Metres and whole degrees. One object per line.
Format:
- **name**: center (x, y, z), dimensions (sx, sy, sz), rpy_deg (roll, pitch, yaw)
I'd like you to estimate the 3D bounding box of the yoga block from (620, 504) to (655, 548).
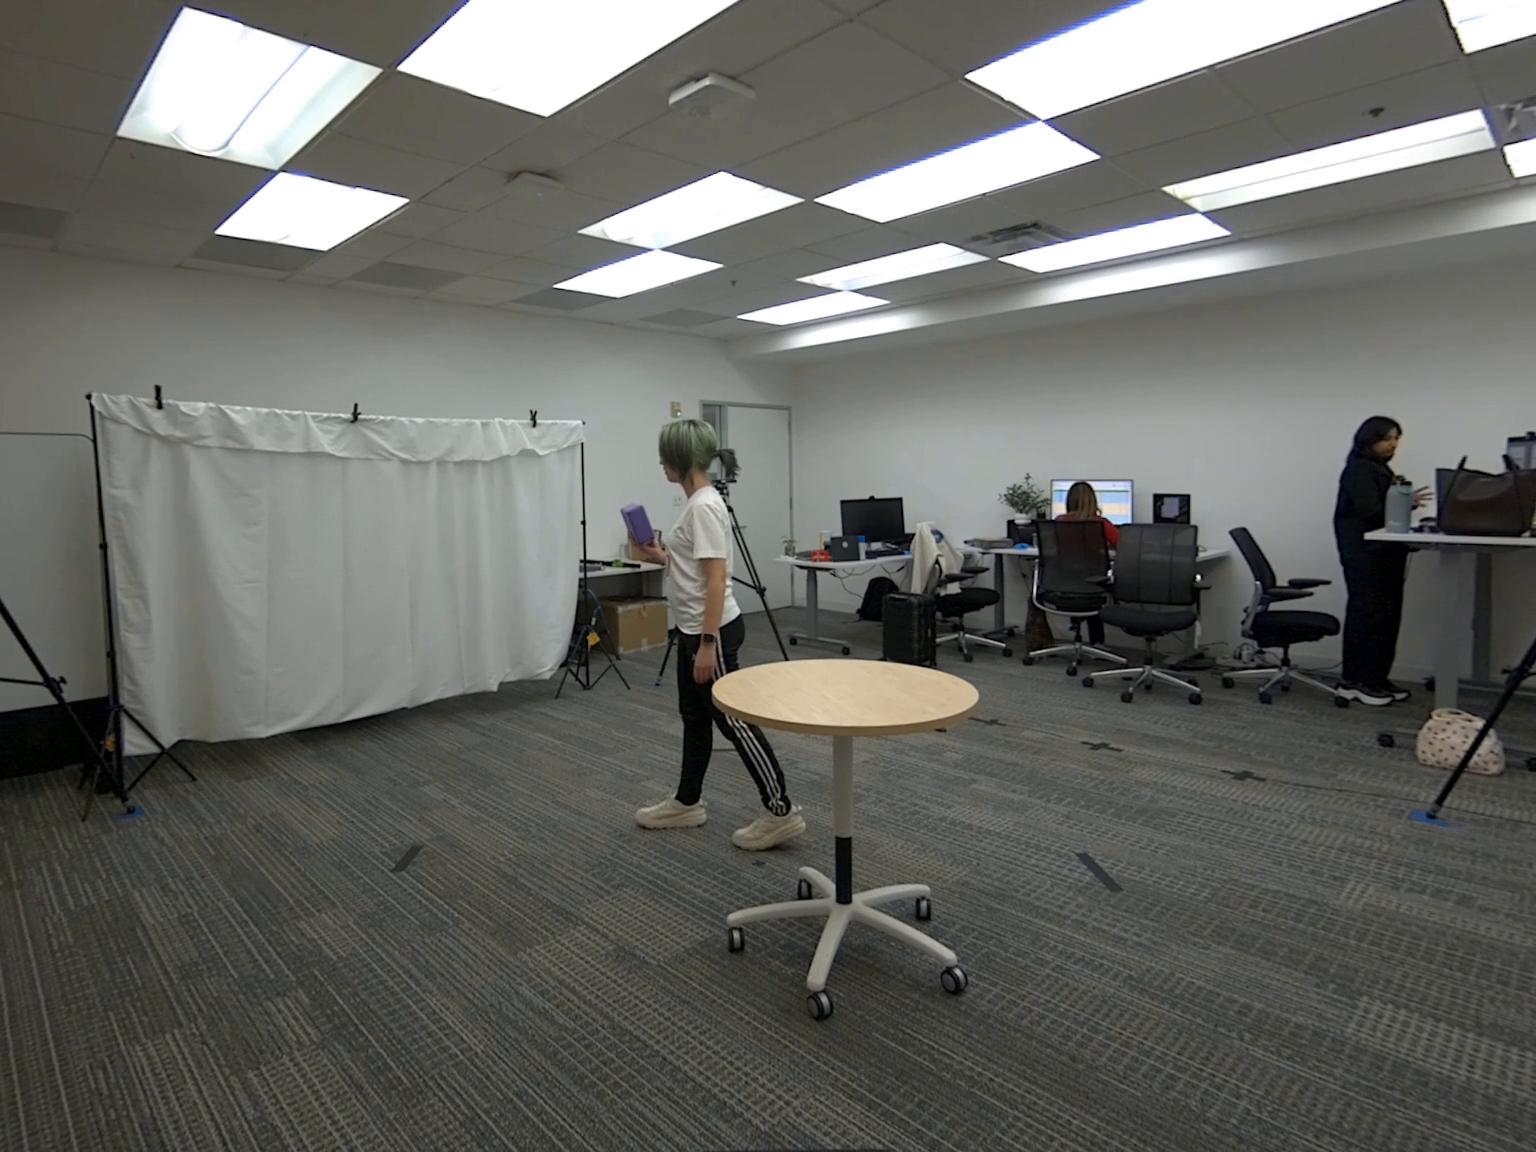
- **yoga block**: center (-0.546, -0.224, 3.587), dimensions (0.076, 0.147, 0.234), rpy_deg (-23, 12, -12)
